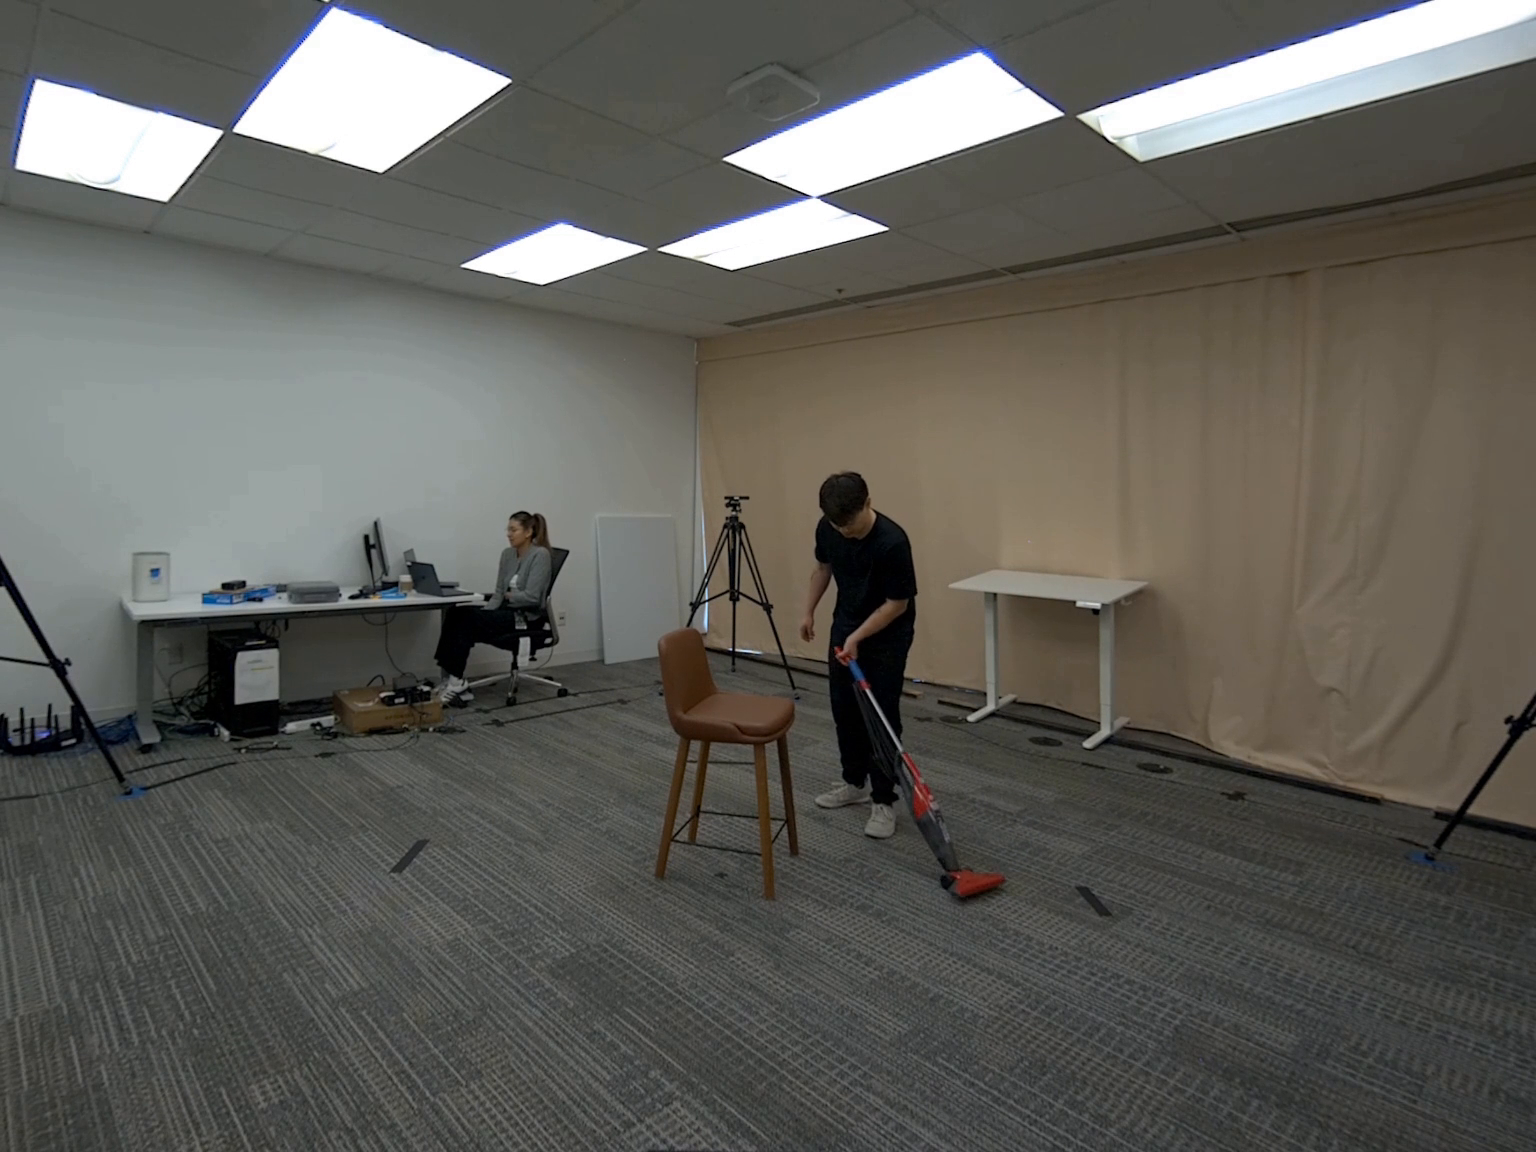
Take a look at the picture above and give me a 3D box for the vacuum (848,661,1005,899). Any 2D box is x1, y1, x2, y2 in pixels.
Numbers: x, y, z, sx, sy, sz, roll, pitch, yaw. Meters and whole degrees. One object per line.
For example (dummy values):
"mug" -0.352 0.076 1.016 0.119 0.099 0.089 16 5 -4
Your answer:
"vacuum" 0.504 0.721 3.333 0.246 0.143 1.080 6 43 -39
